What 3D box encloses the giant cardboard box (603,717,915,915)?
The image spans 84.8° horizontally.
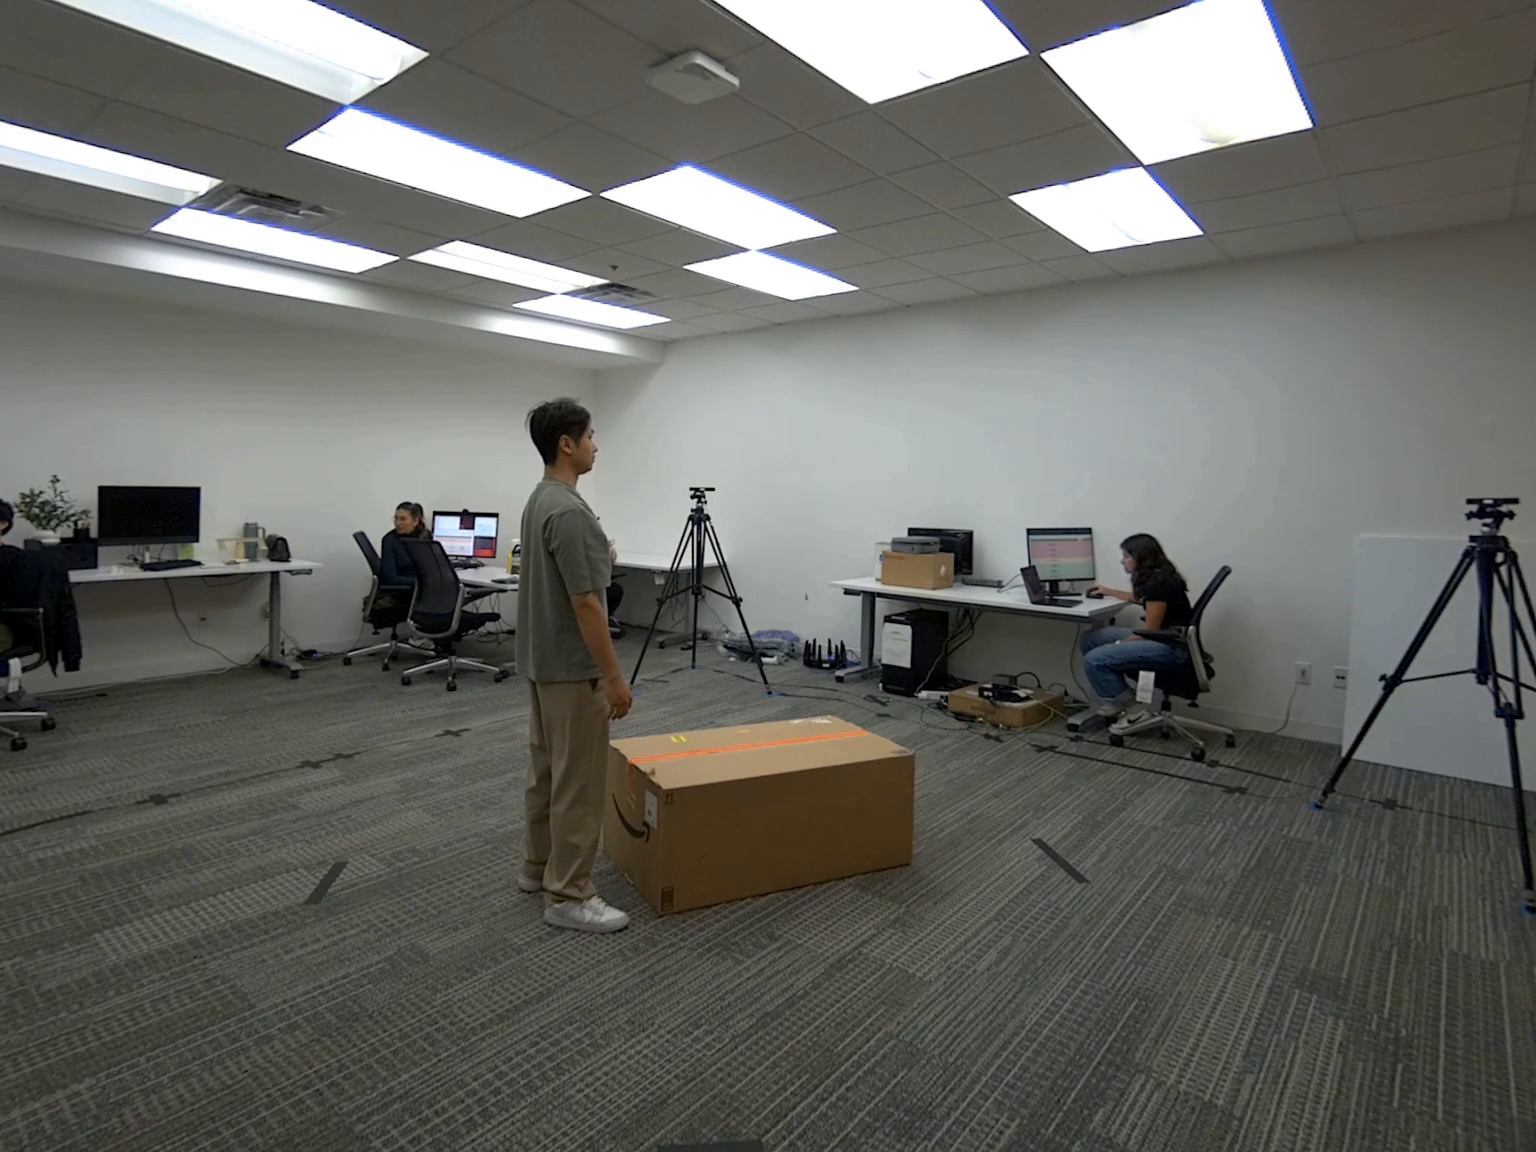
[{"bbox_3d":[-0.050,0.846,3.207,1.000,0.424,0.595,-1,6,-27],"label":"giant cardboard box"}]
